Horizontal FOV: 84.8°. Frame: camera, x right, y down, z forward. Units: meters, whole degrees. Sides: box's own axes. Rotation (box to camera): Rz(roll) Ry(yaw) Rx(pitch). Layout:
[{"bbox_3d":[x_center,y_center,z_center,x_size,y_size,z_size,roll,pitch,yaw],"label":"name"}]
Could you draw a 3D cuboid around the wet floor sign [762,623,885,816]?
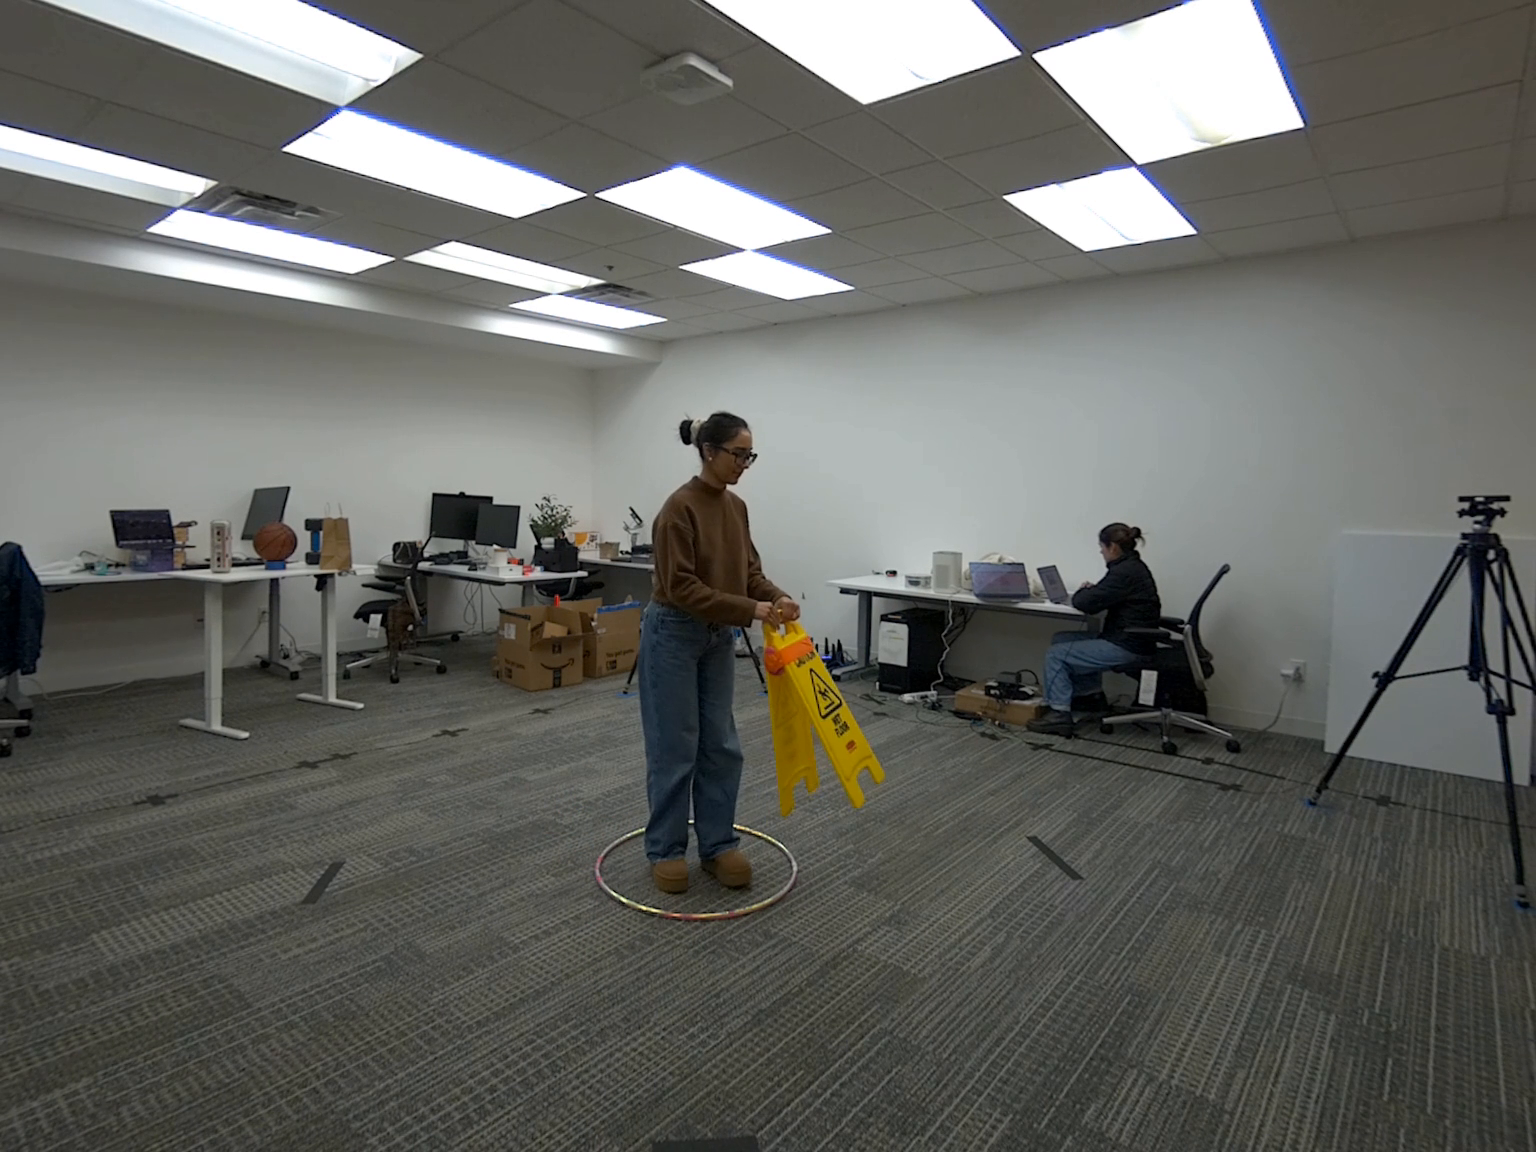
[{"bbox_3d":[0.105,0.427,2.852,0.295,0.647,0.277,-18,0,30],"label":"wet floor sign"}]
